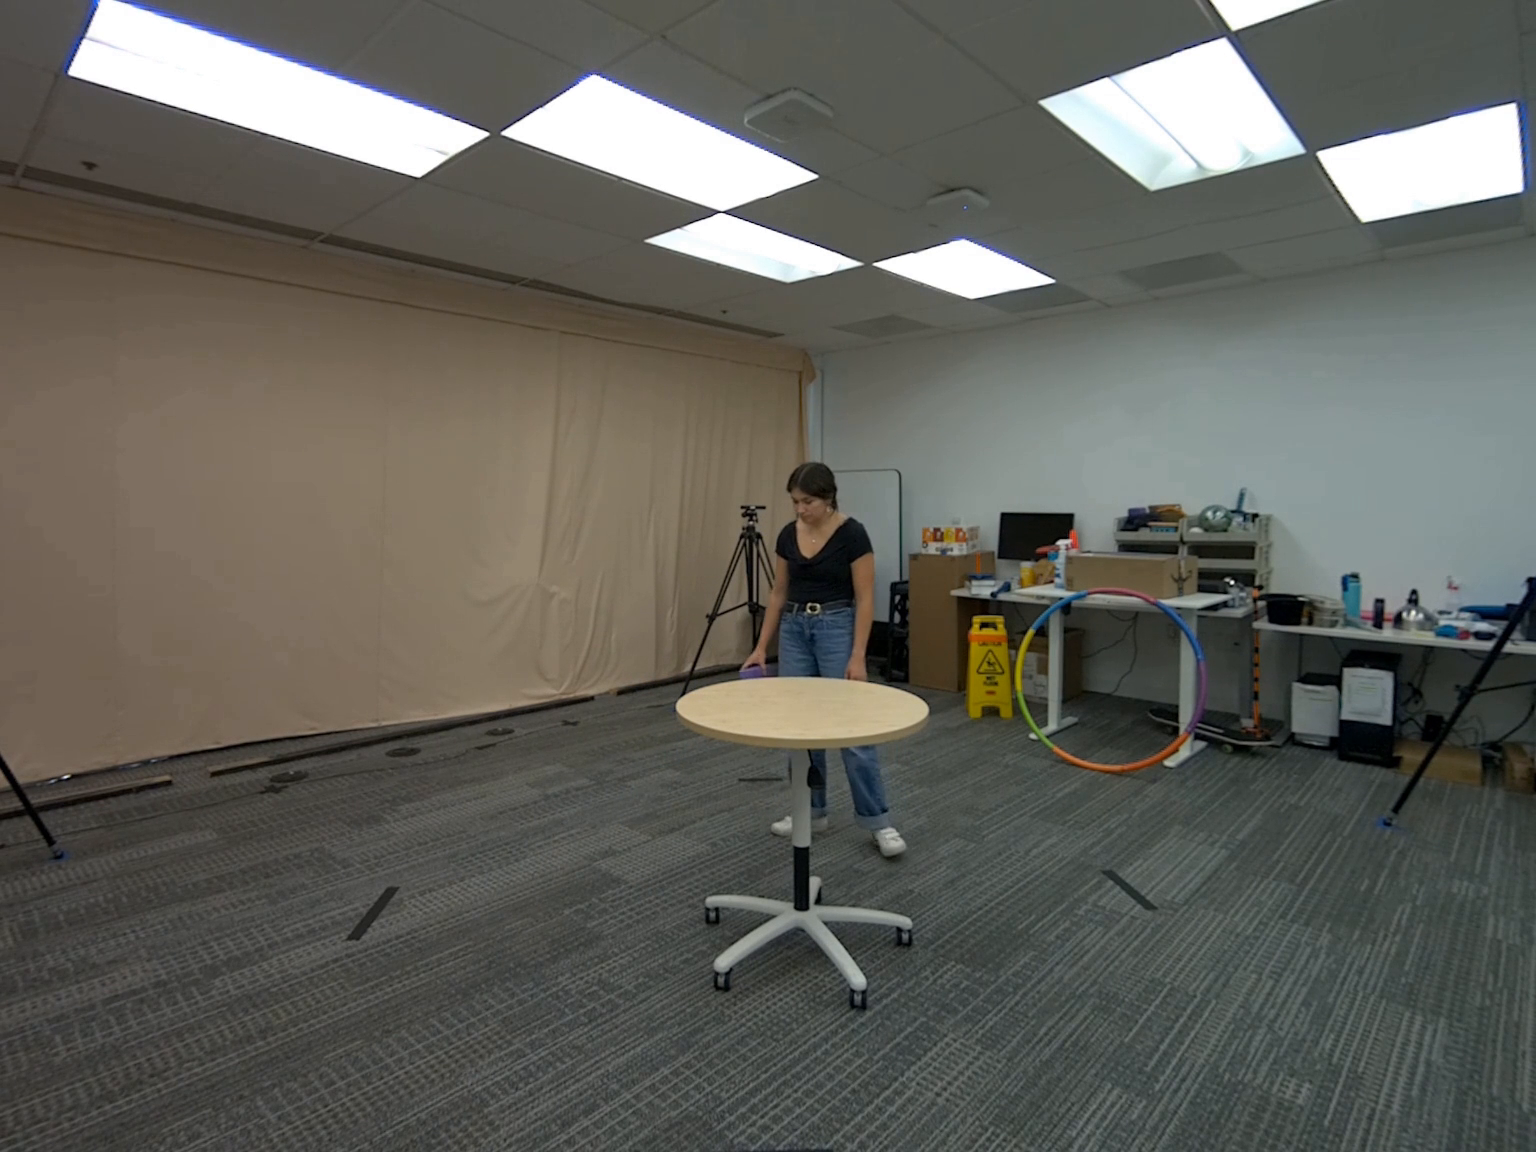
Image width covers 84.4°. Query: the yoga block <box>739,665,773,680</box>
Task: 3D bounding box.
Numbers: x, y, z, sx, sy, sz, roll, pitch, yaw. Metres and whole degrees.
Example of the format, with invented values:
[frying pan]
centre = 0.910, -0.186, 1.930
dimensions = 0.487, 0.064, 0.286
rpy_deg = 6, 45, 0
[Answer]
[yoga block]
centre = -0.026, 0.465, 3.589
dimensions = 0.078, 0.150, 0.224
rpy_deg = -10, -6, 17
